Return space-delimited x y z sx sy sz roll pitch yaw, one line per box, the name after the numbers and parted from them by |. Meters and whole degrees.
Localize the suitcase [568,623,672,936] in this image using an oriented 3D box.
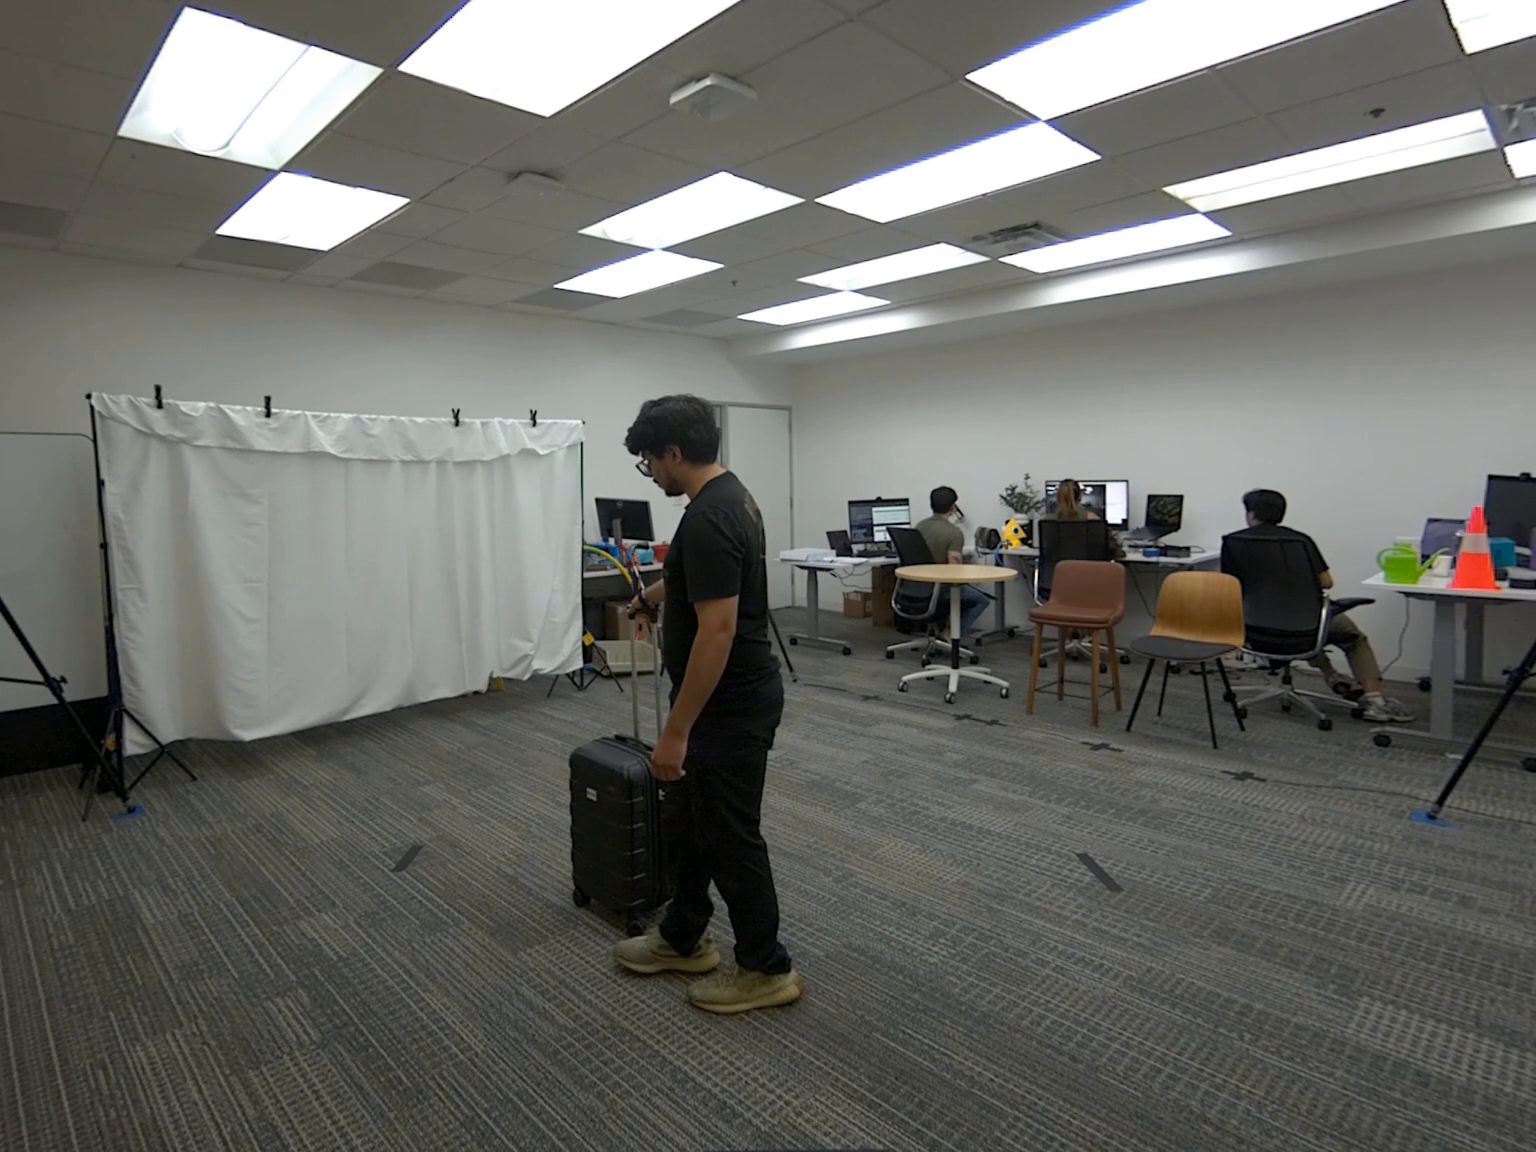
-0.473 0.614 2.781 0.395 0.975 0.250 1 6 44 | suitcase
